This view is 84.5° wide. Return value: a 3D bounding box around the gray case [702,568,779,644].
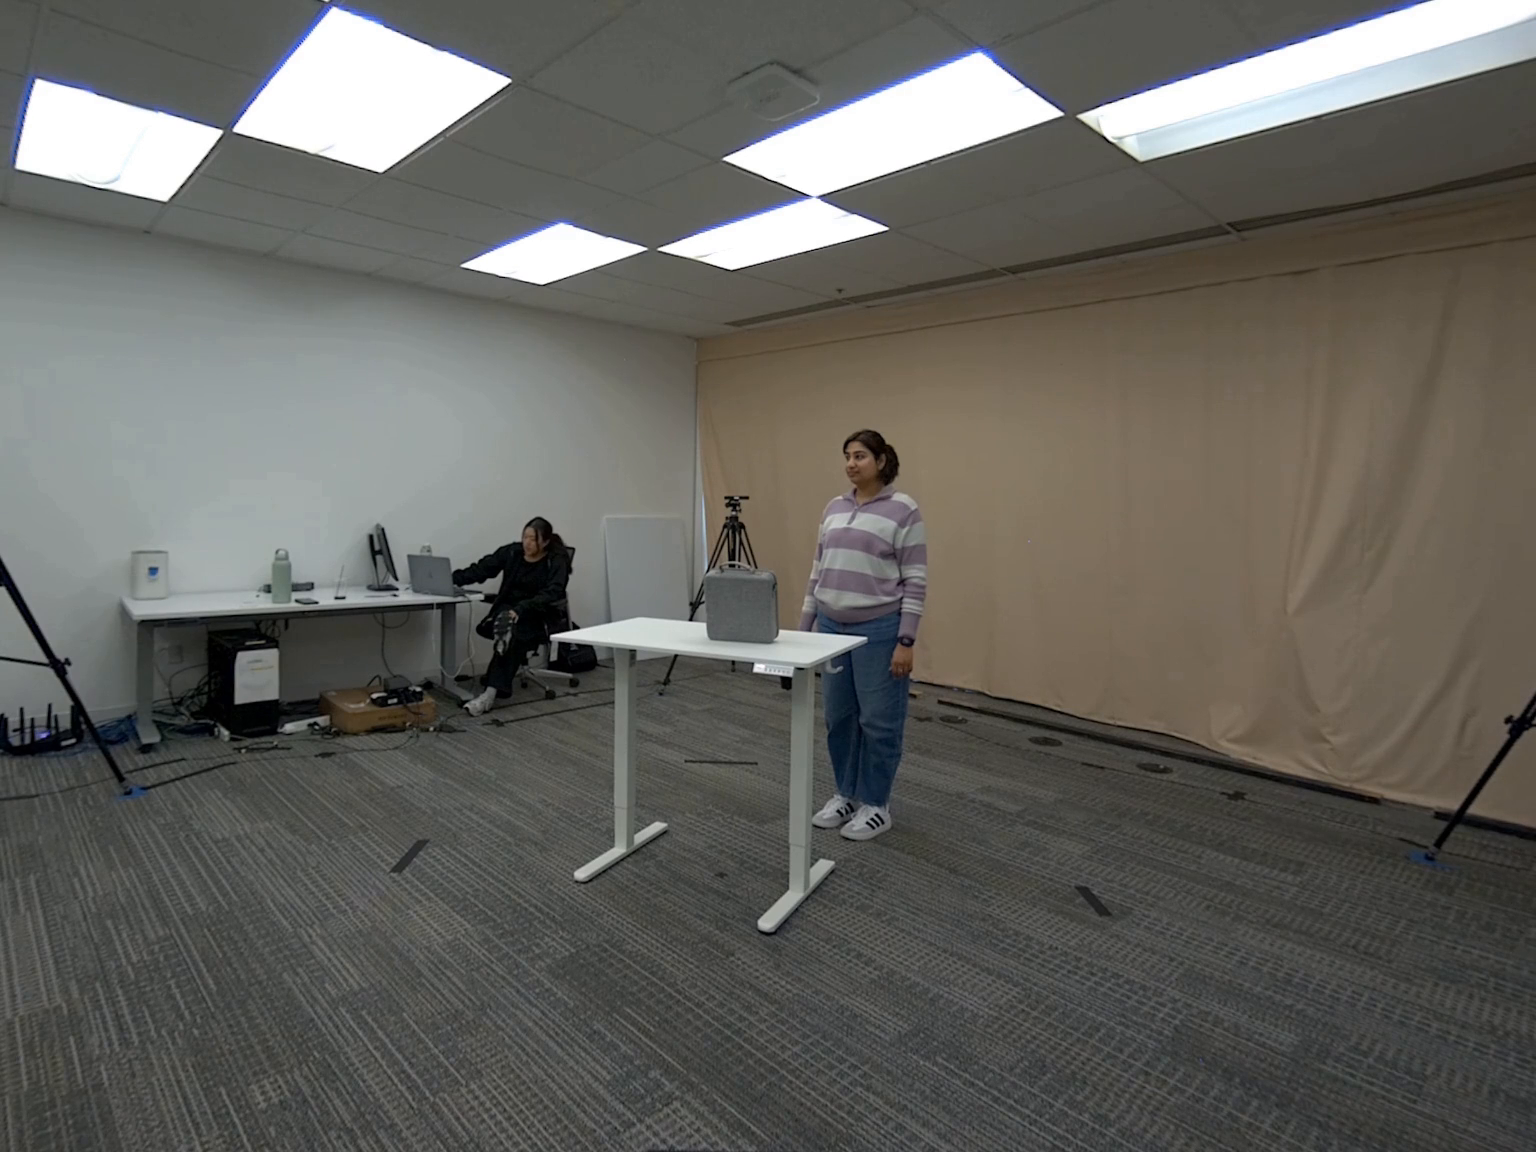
[{"bbox_3d":[-0.097,0.103,2.968,0.260,0.258,0.104,1,12,18],"label":"gray case"}]
